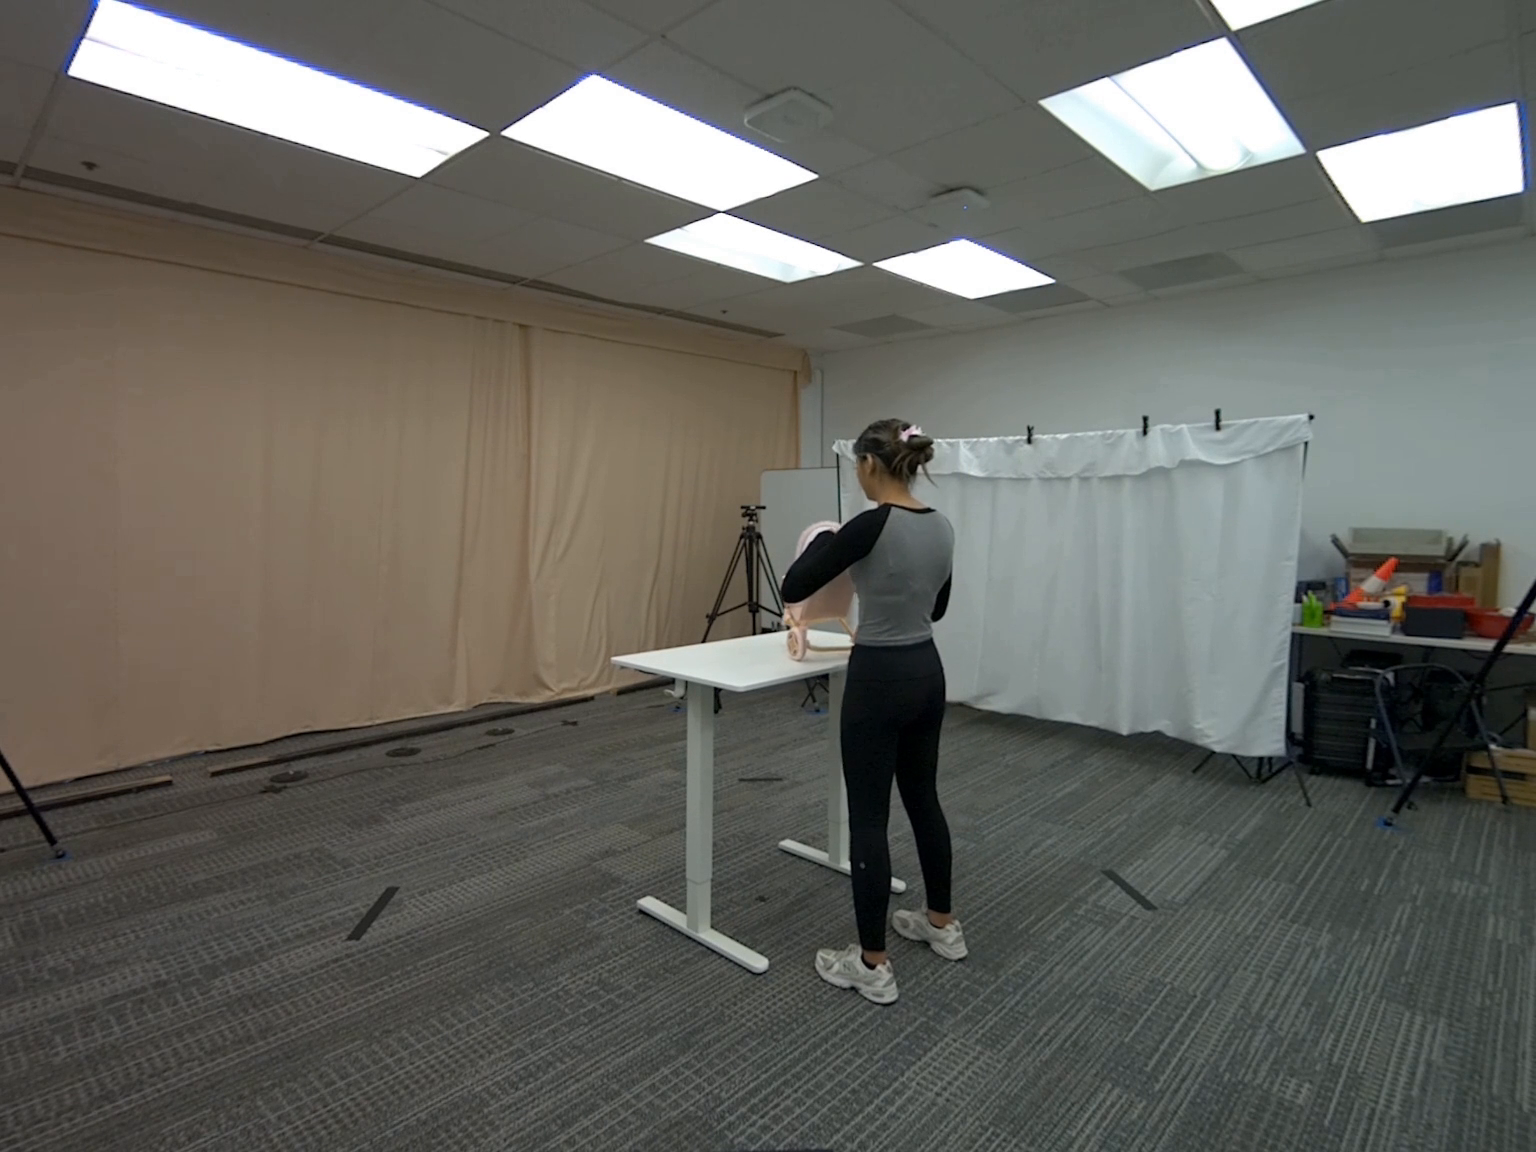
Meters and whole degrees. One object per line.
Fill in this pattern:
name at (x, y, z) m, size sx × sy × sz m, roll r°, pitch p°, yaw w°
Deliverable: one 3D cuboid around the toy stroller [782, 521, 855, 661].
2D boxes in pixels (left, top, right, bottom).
toy stroller at (0.196, 0.052, 2.860) m, size 0.277 × 0.530 × 0.350 m, roll 0°, pitch 19°, yaw -17°
